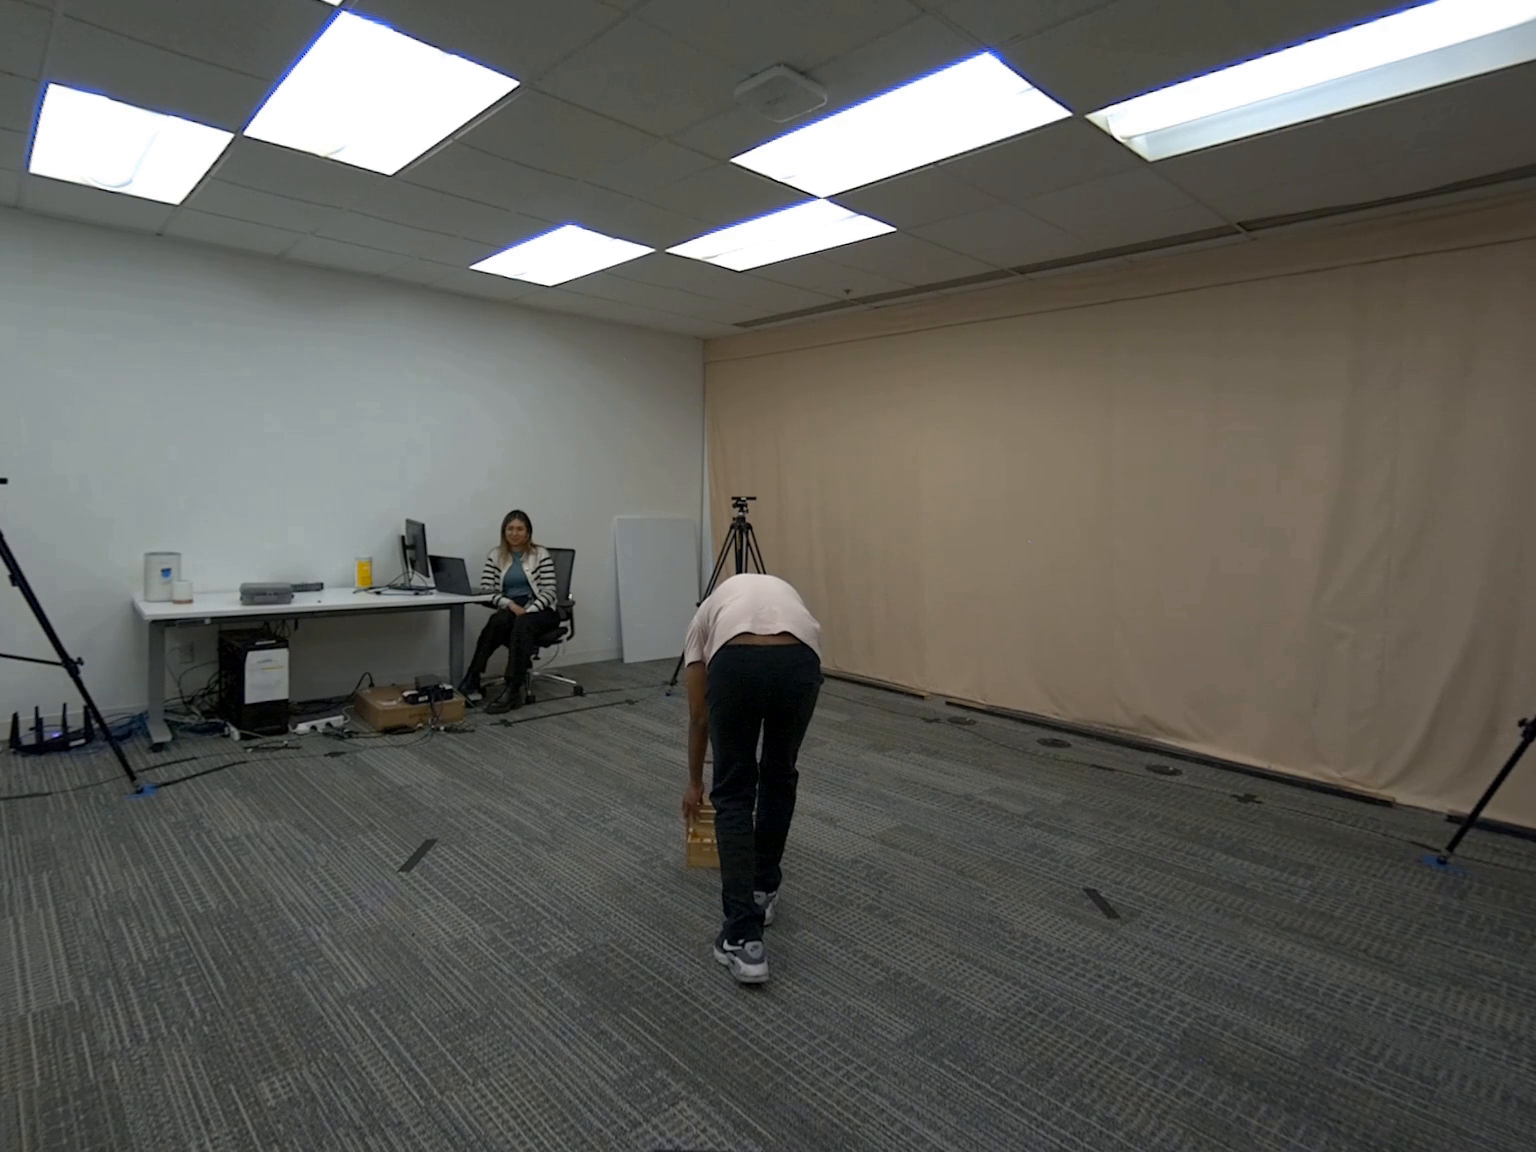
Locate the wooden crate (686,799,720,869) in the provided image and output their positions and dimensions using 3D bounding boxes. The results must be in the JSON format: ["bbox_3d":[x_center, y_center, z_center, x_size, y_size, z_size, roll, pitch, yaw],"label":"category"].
[{"bbox_3d":[-0.161,0.961,3.265,0.324,0.273,0.303,2,3,0],"label":"wooden crate"}]
